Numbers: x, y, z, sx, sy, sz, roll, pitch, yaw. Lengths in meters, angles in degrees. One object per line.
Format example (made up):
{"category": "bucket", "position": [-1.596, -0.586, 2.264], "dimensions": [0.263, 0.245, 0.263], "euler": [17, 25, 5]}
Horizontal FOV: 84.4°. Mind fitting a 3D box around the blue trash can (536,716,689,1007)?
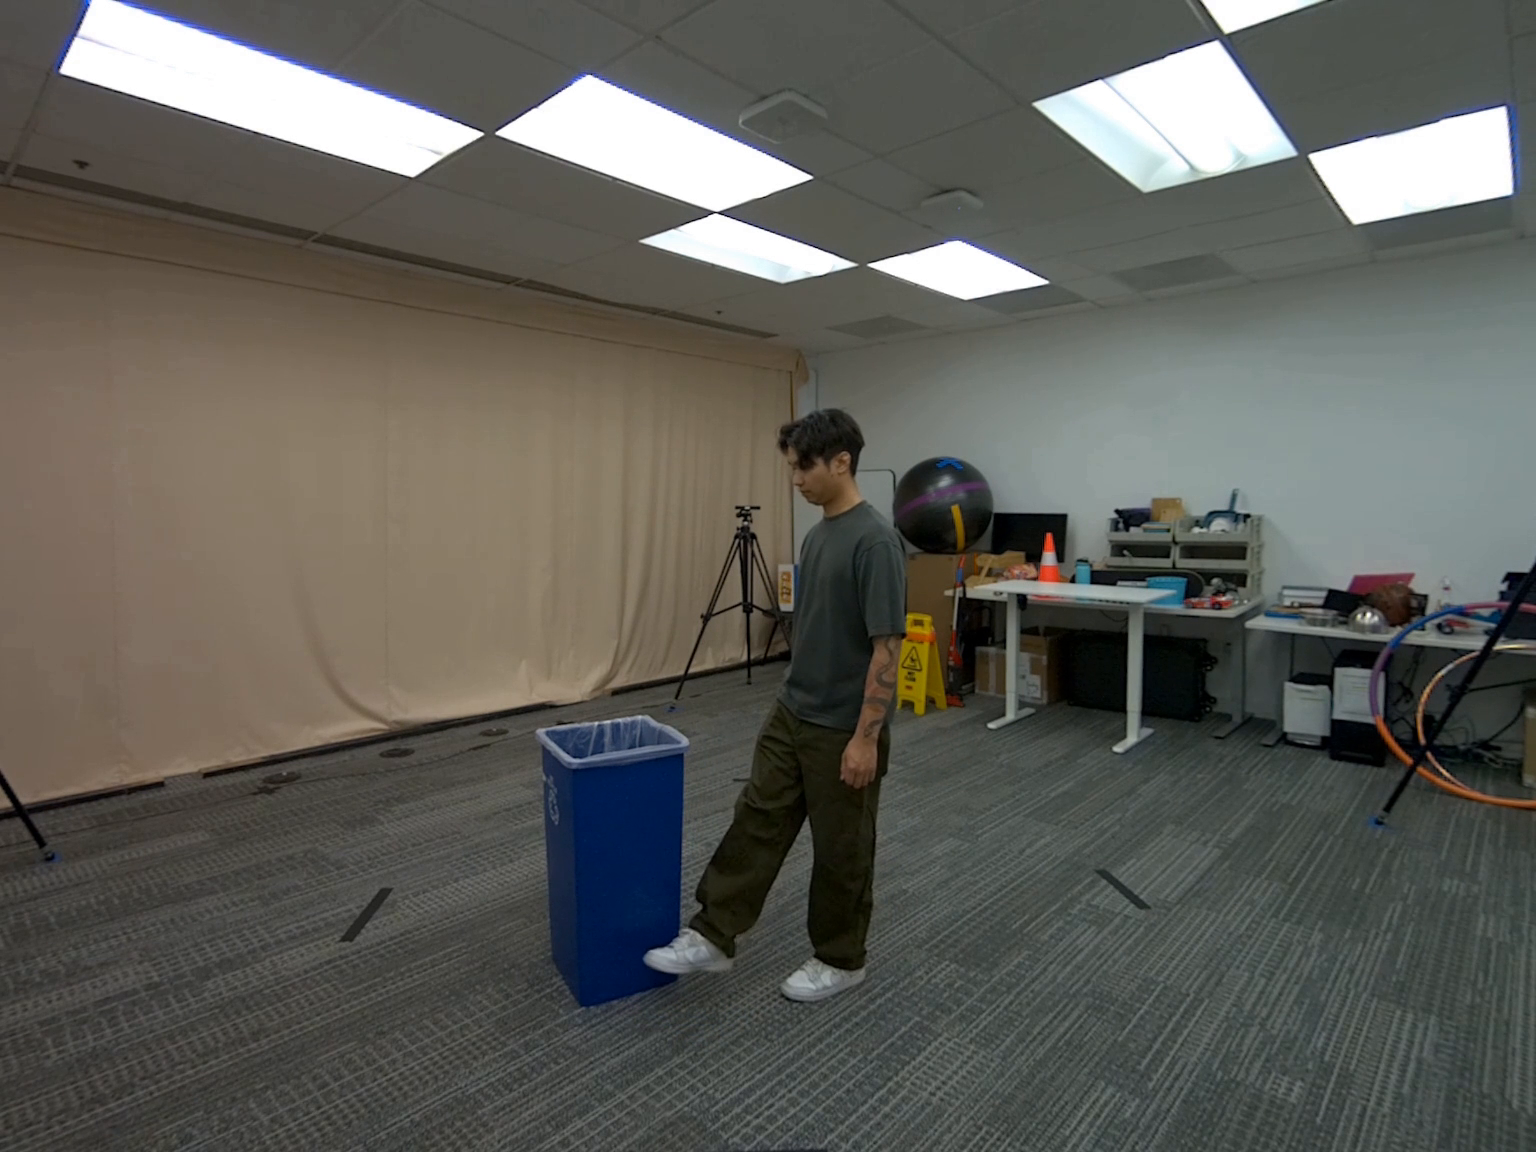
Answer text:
{"category": "blue trash can", "position": [-0.462, 0.828, 2.521], "dimensions": [0.364, 0.712, 0.389], "euler": [-4, 5, -31]}
